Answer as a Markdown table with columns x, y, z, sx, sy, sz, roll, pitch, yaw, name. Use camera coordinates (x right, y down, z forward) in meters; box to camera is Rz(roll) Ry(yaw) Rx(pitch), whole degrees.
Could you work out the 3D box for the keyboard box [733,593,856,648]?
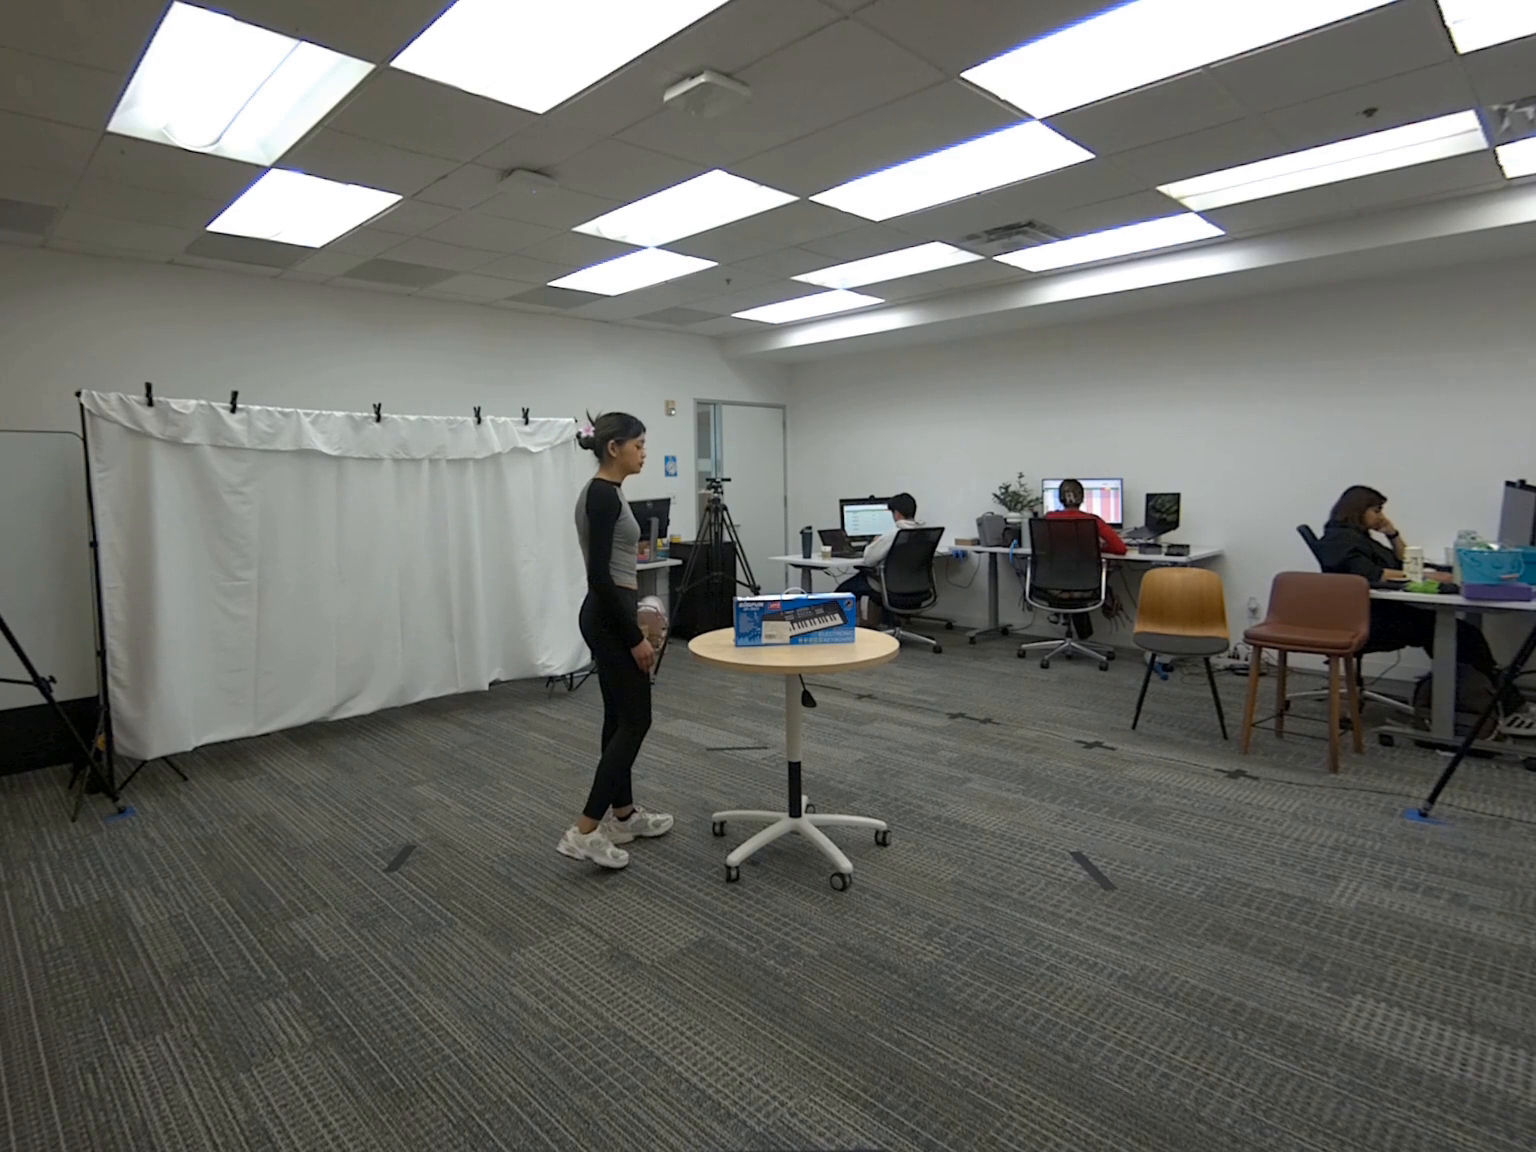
| x | y | z | sx | sy | sz | roll | pitch | yaw | name |
| --- | --- | --- | --- | --- | --- | --- | --- | --- | --- |
| 0.095 | 0.159 | 3.094 | 0.435 | 0.175 | 0.060 | -1 | 8 | -4 | keyboard box |
